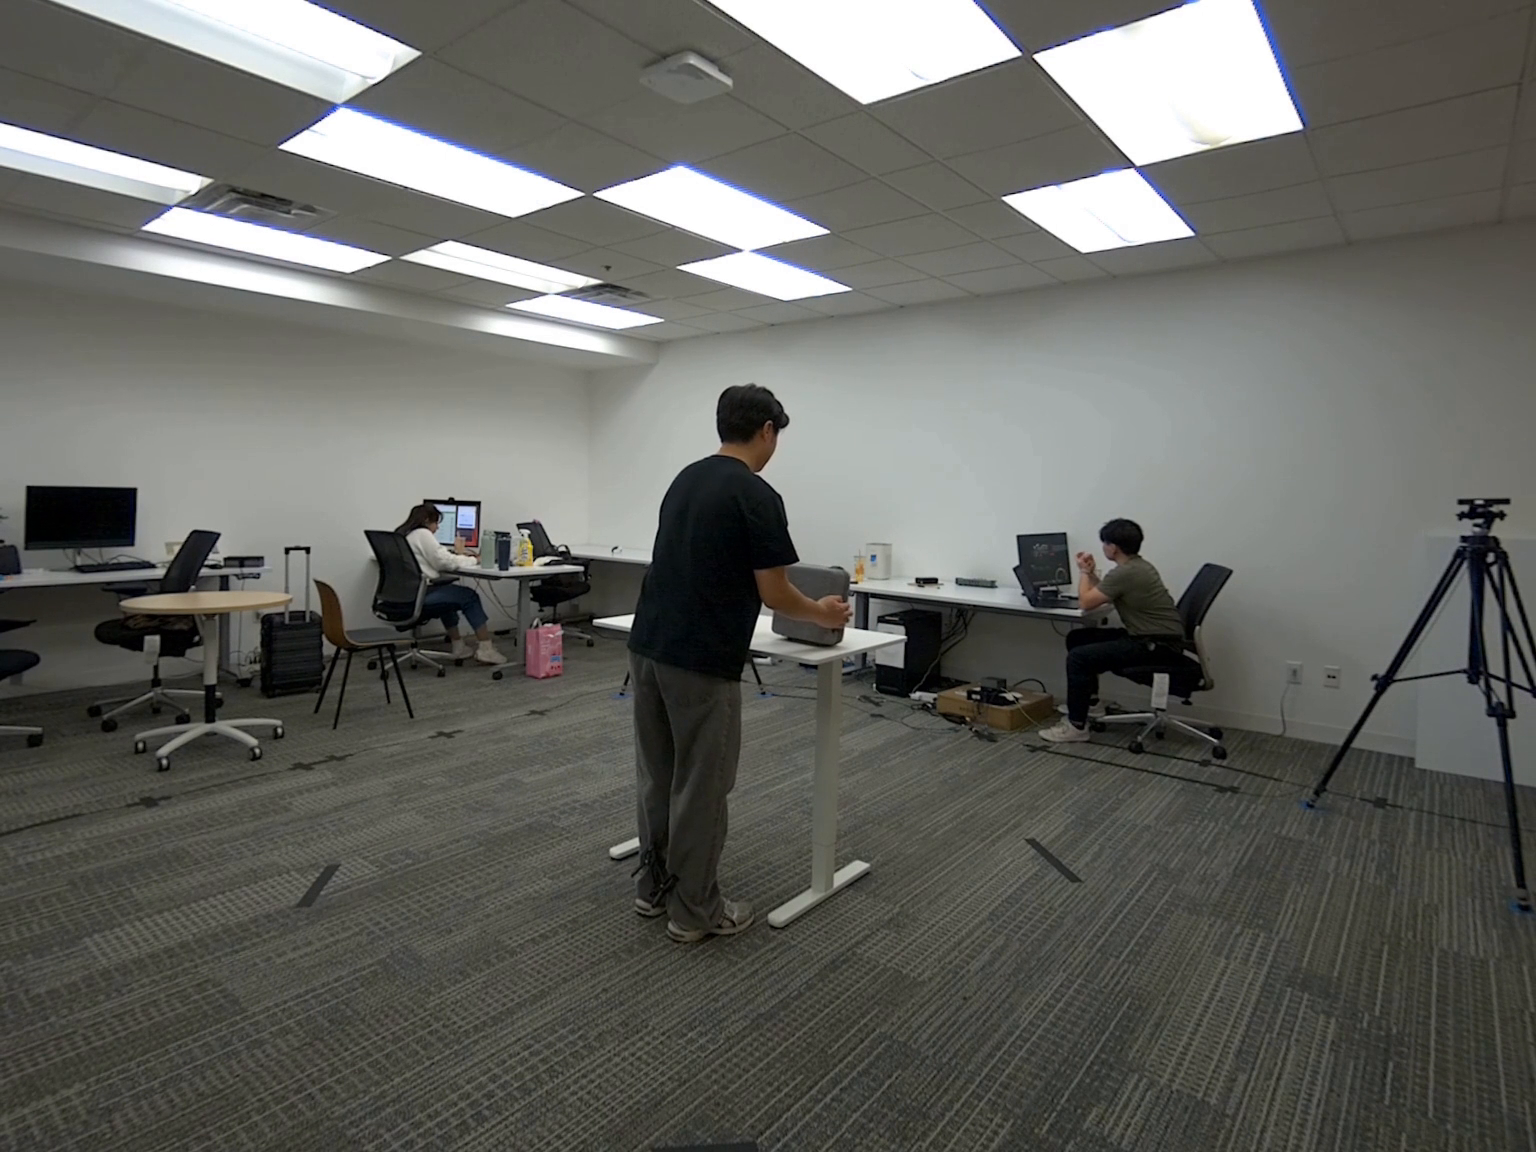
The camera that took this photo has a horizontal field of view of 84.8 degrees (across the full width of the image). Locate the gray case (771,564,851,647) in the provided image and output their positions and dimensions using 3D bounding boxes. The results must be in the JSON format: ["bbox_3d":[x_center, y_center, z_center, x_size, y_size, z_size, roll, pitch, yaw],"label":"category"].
[{"bbox_3d":[0.130,0.094,2.863,0.266,0.261,0.100,7,-1,42],"label":"gray case"}]
